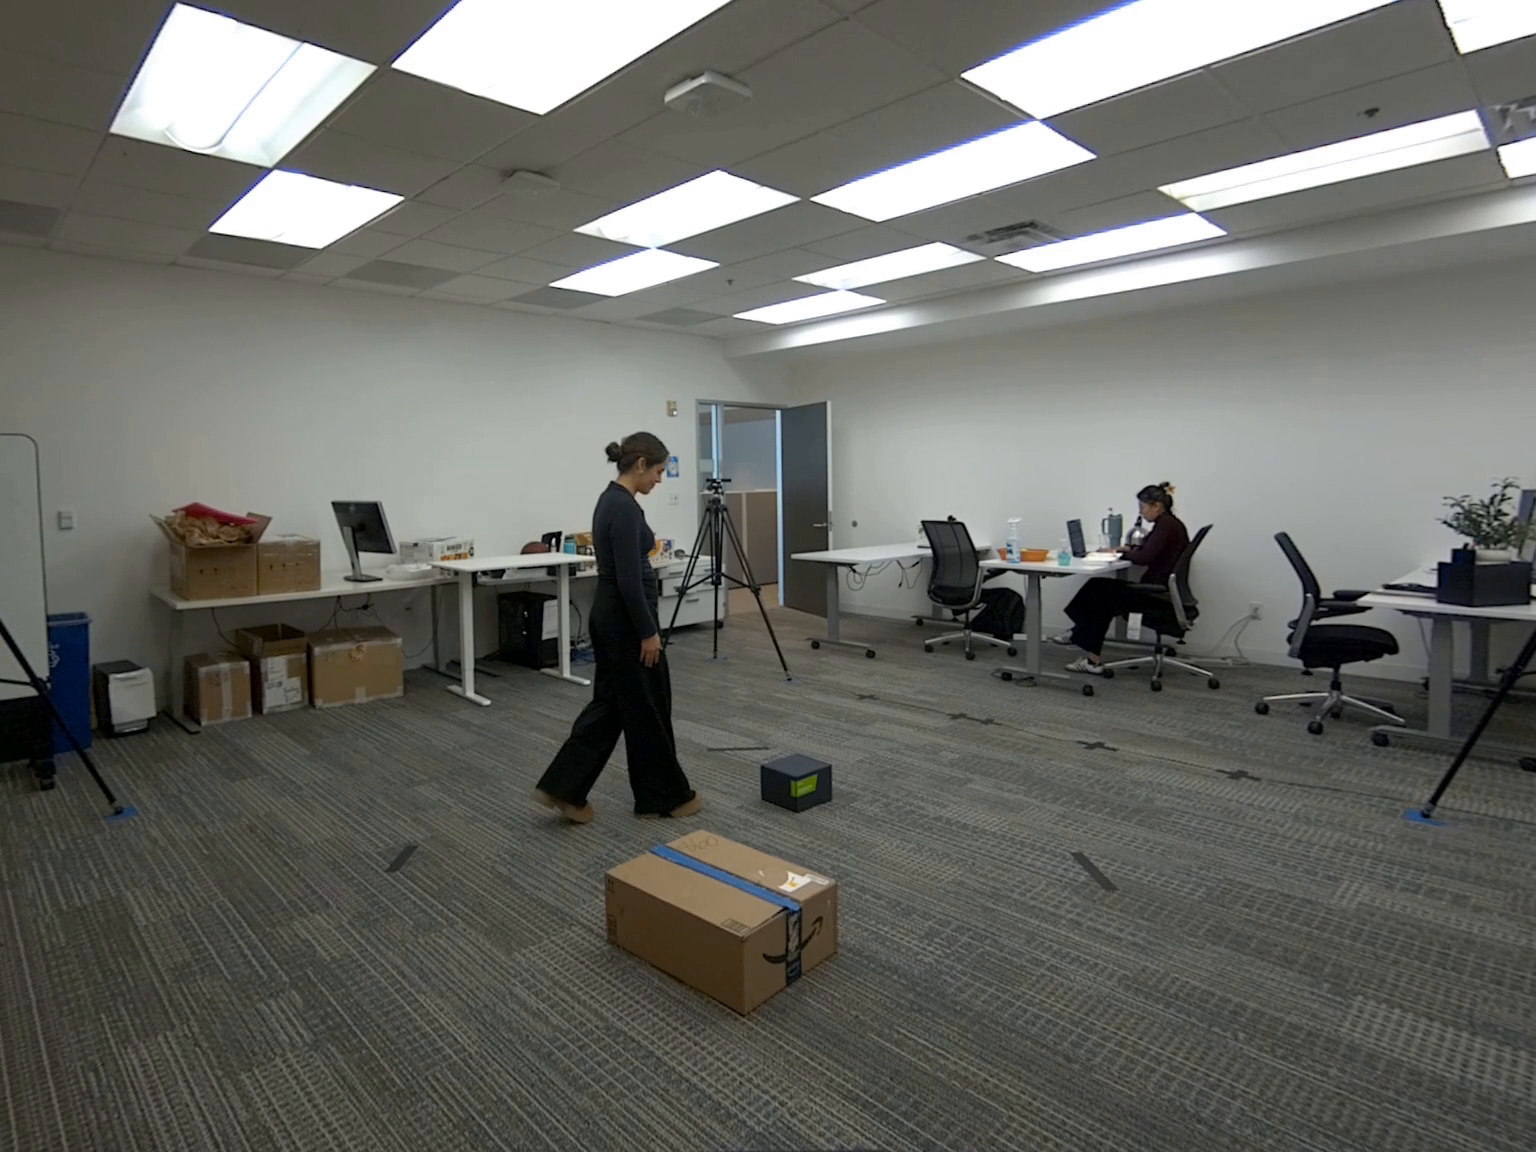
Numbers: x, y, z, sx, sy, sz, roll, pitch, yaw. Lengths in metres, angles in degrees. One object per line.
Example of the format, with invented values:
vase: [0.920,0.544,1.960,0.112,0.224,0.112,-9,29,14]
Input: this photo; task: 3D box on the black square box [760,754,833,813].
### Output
black square box: [0.121,0.884,3.696,0.222,0.155,0.224,-5,7,-43]
